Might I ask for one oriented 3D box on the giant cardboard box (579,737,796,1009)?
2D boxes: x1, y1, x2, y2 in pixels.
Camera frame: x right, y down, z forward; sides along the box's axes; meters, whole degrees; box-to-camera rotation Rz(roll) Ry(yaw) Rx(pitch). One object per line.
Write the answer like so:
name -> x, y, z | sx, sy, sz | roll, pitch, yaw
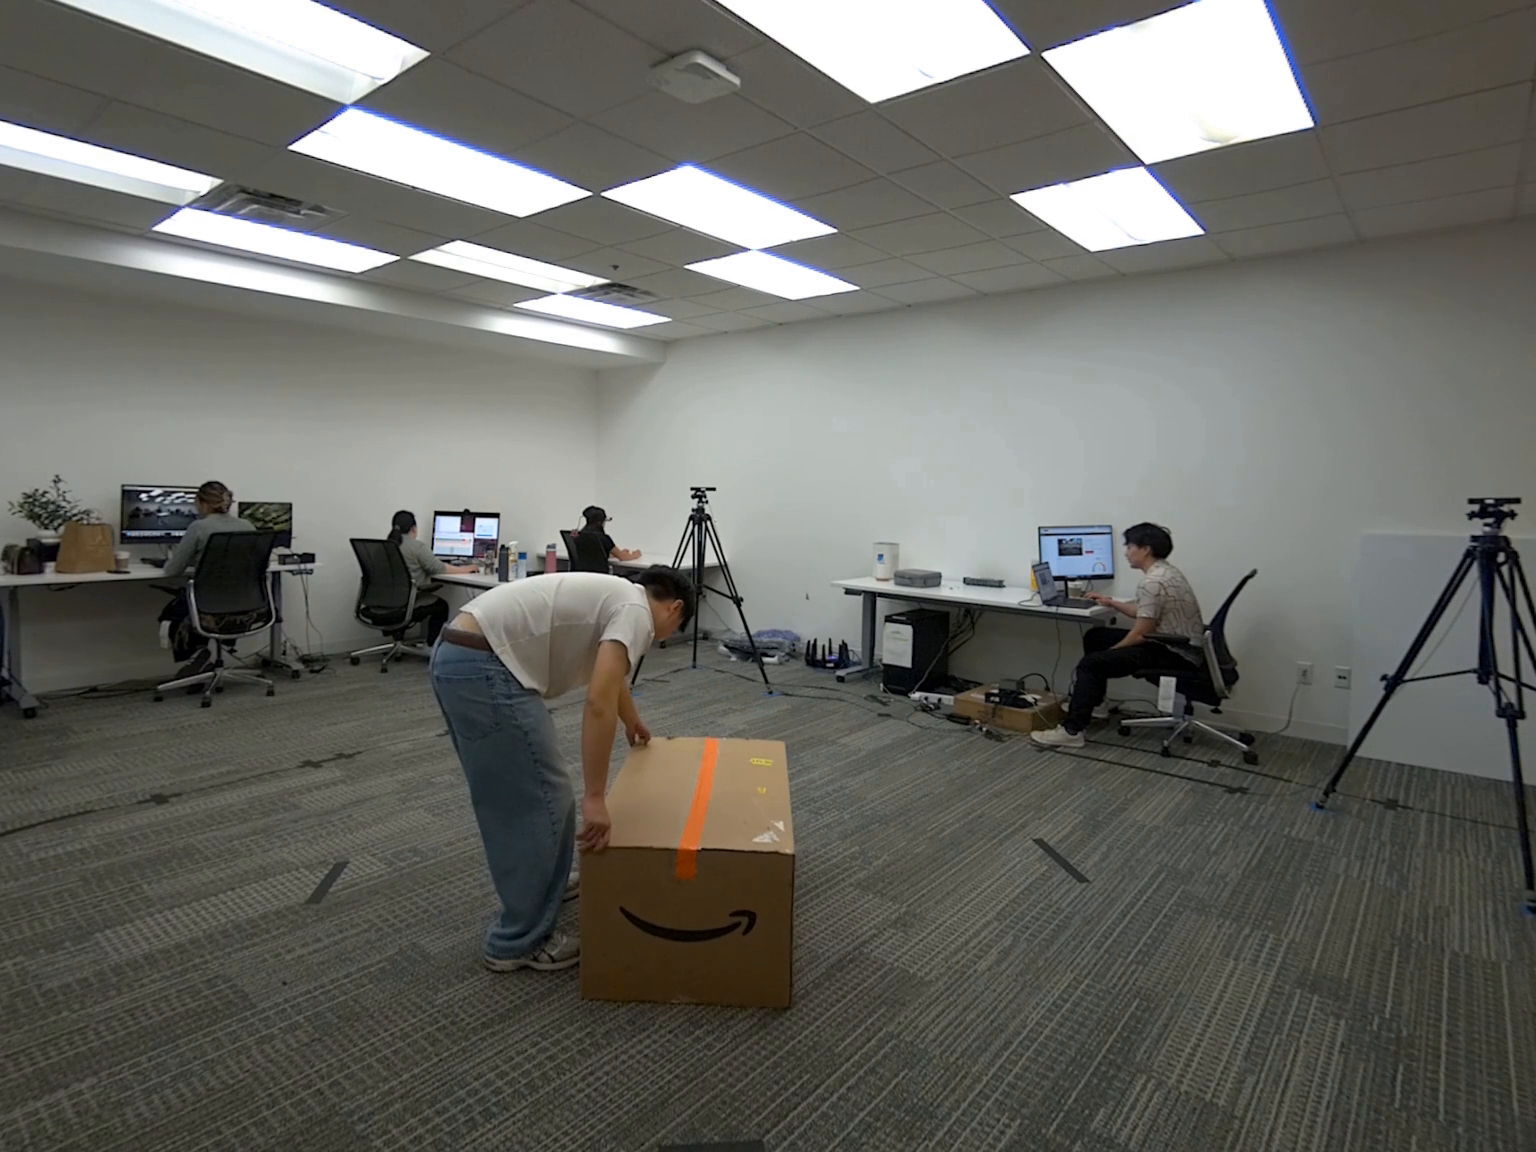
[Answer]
giant cardboard box -> -0.226, 0.882, 2.776 | 0.579, 0.424, 1.028 | 1, 5, 0
